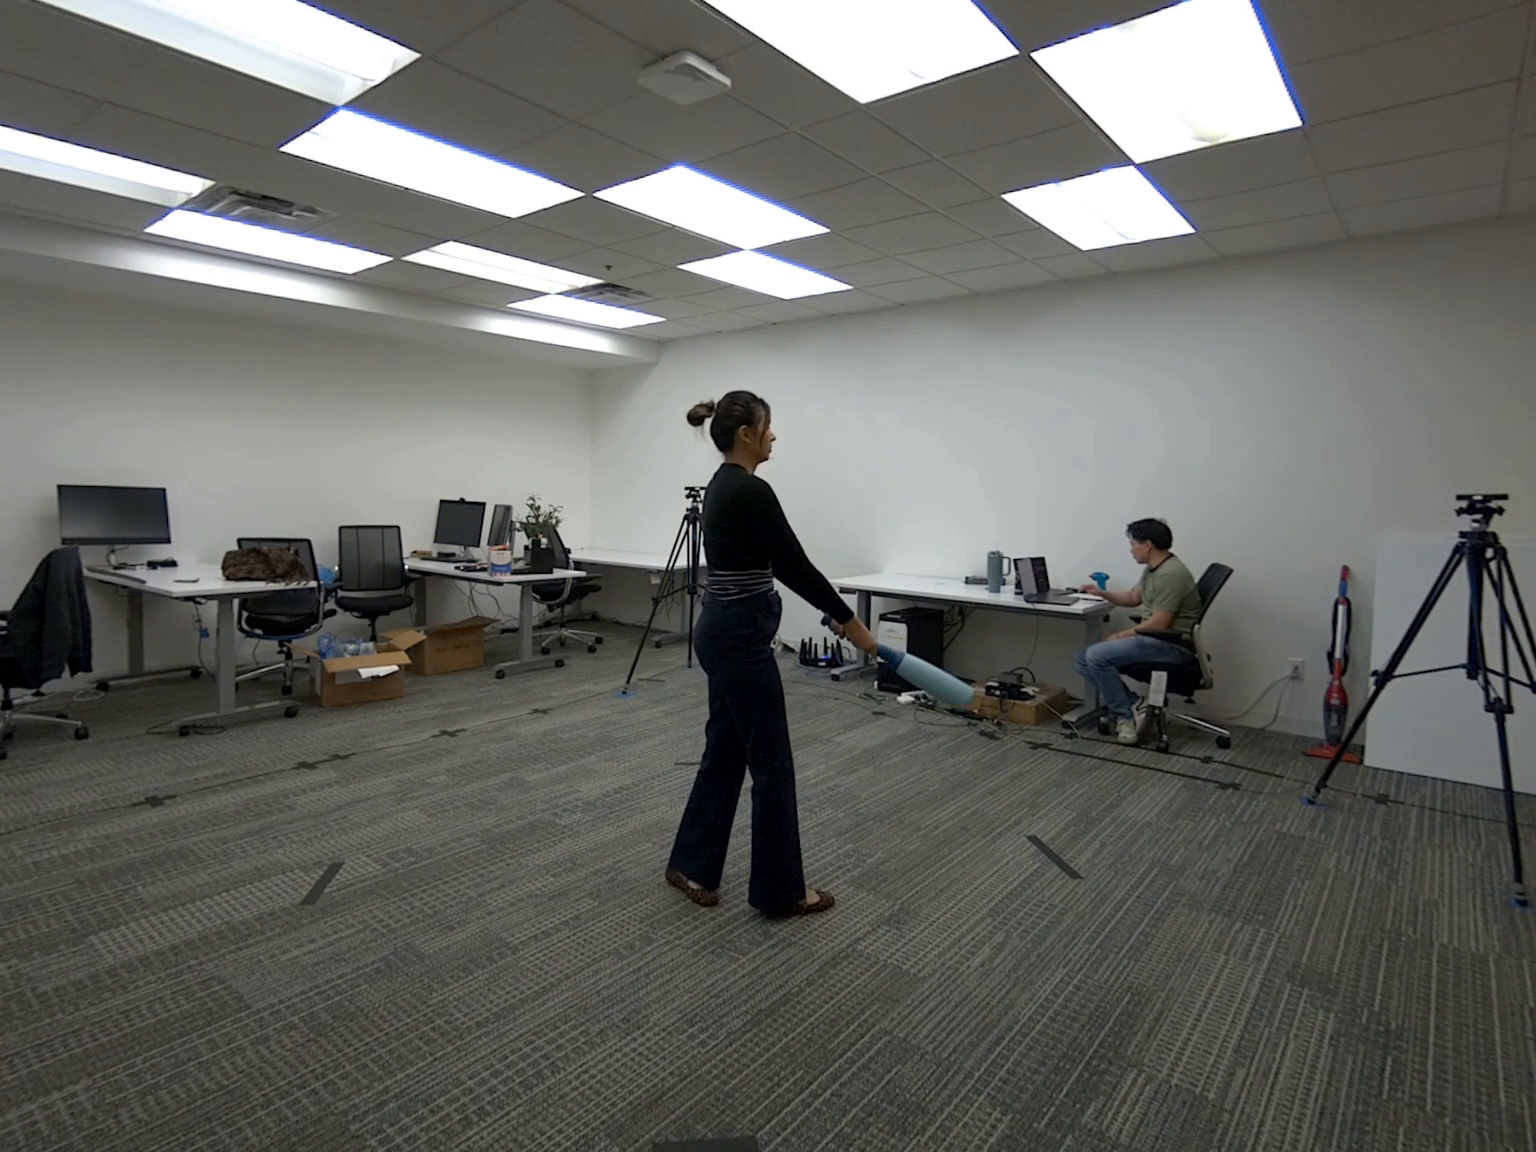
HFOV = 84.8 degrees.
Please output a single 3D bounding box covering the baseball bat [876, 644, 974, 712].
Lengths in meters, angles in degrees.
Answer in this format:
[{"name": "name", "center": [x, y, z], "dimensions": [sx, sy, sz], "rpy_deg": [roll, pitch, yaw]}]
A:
[{"name": "baseball bat", "center": [0.411, 0.269, 2.797], "dimensions": [0.552, 0.089, 0.088], "rpy_deg": [28, 9, 11]}]
